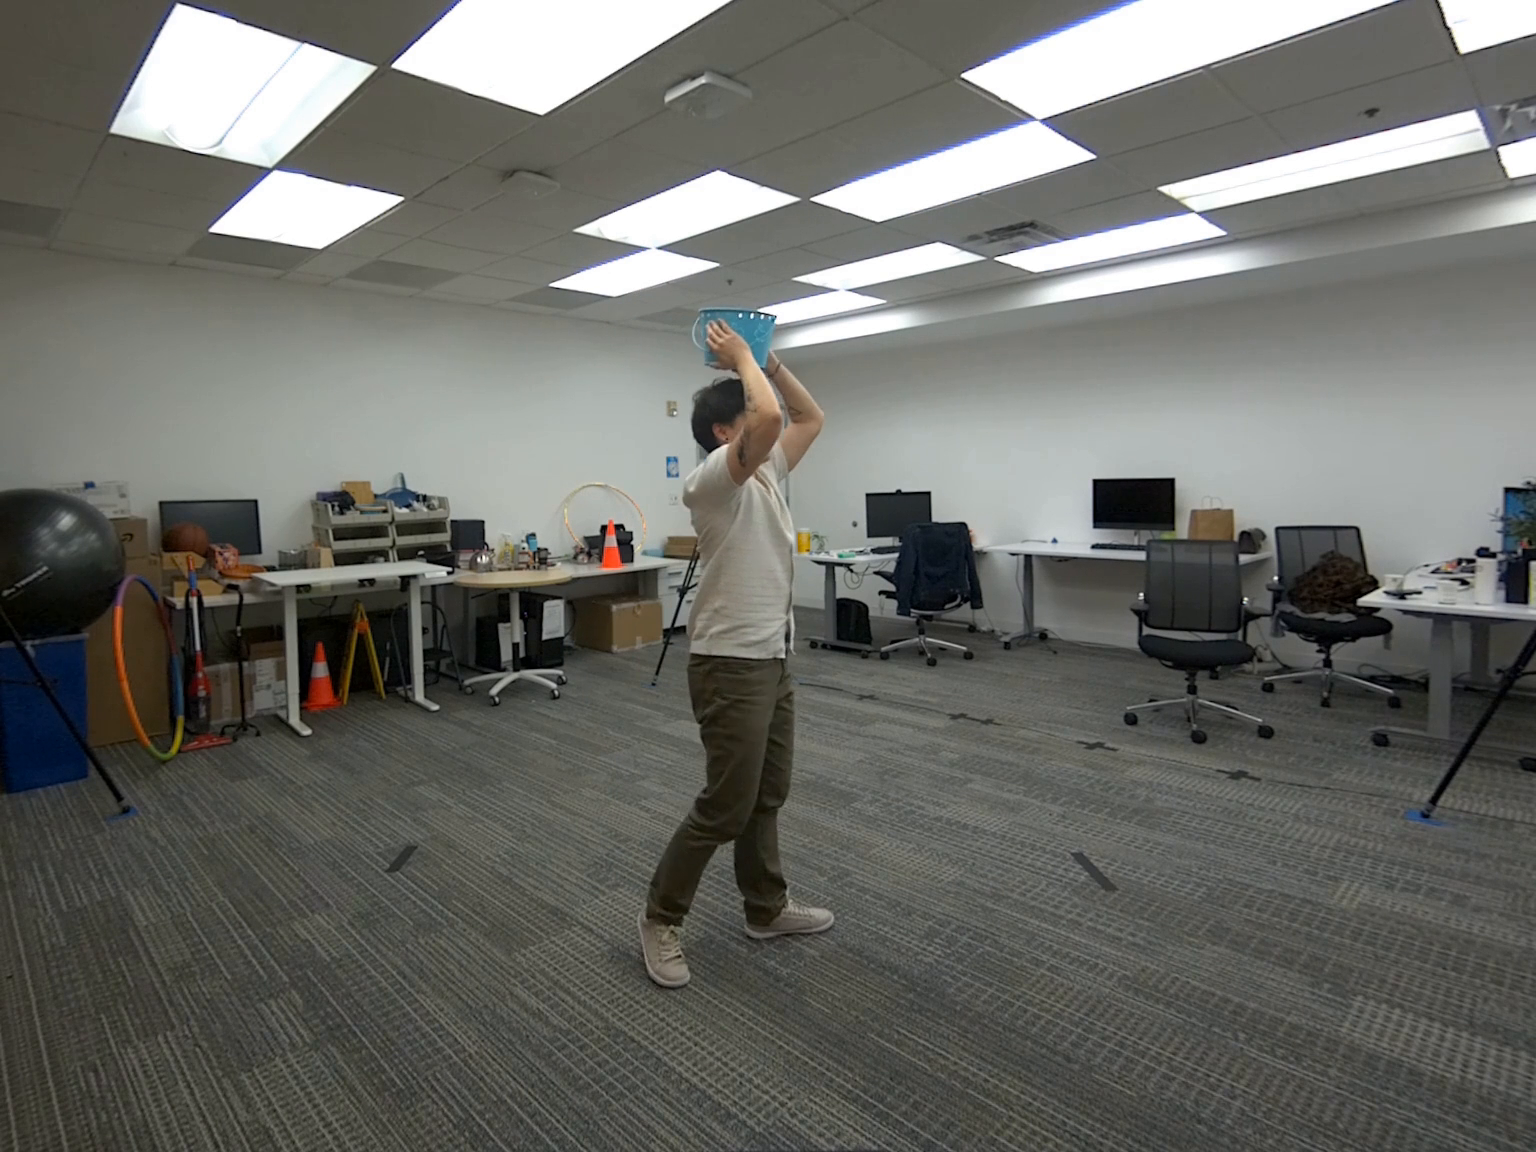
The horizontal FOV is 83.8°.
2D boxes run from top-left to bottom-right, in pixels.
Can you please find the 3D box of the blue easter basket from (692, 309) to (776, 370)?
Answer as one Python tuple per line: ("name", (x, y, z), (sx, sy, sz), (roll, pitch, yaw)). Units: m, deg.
("blue easter basket", (-0.099, -0.689, 2.475), (0.243, 0.155, 0.245), (1, 8, -2))
